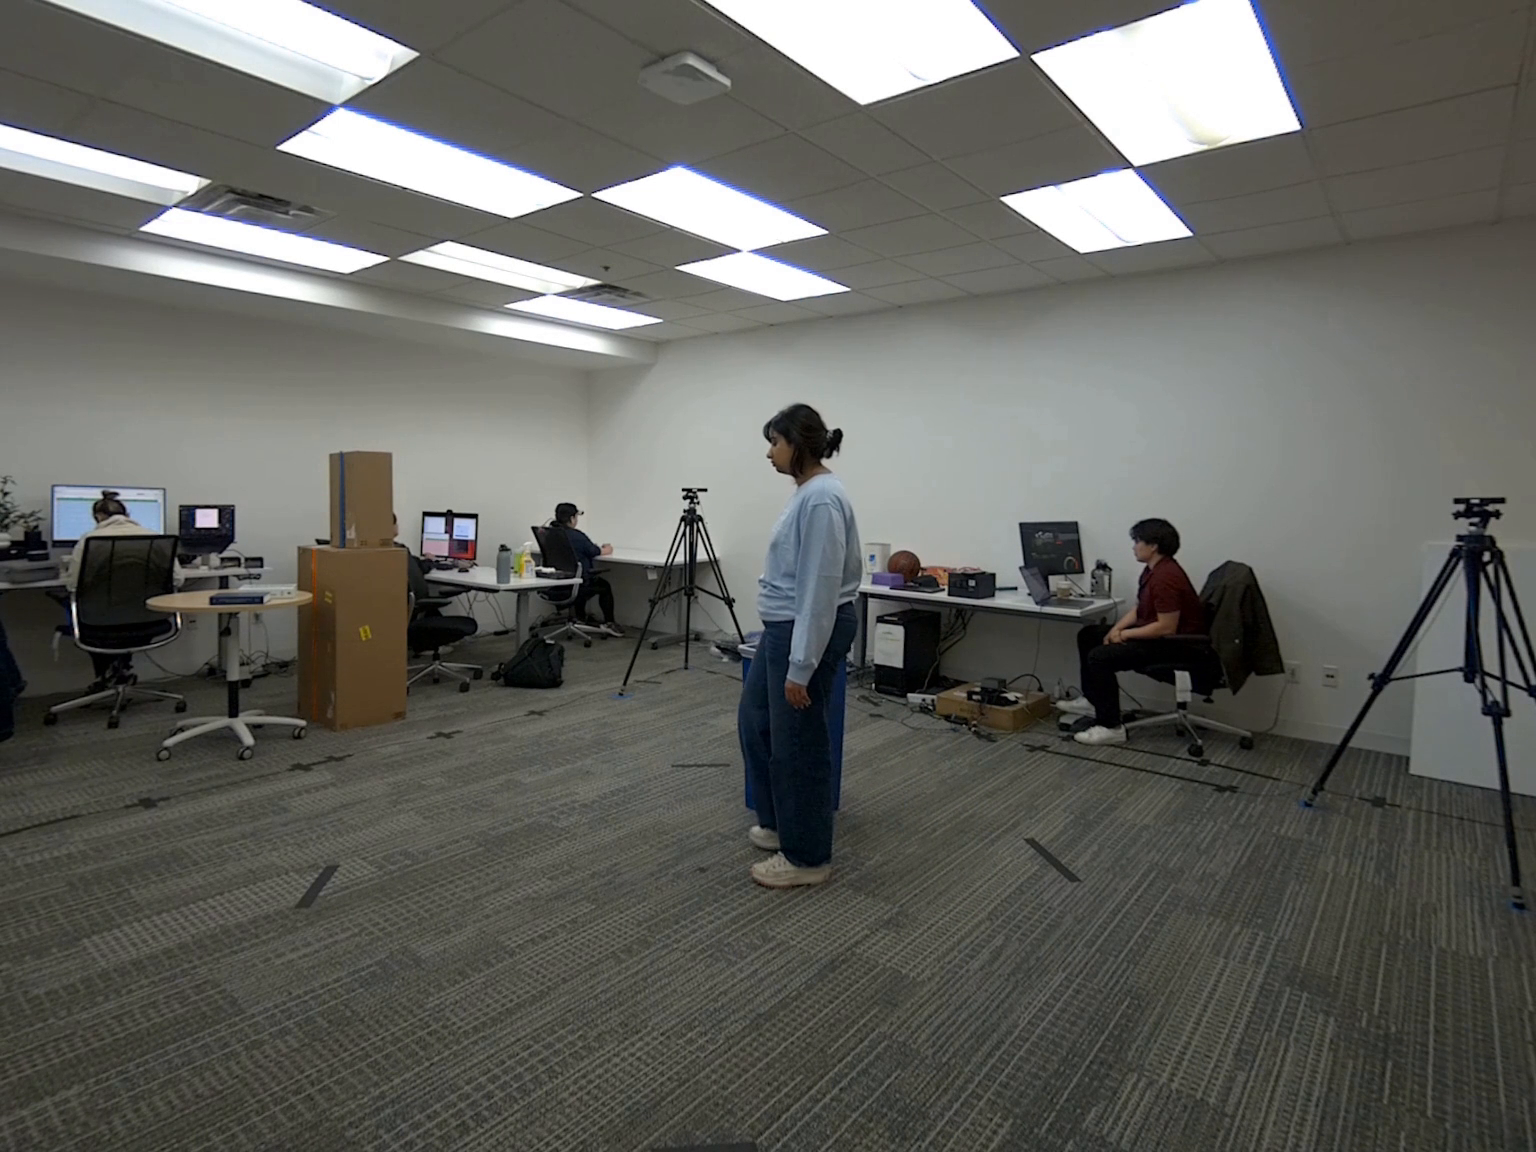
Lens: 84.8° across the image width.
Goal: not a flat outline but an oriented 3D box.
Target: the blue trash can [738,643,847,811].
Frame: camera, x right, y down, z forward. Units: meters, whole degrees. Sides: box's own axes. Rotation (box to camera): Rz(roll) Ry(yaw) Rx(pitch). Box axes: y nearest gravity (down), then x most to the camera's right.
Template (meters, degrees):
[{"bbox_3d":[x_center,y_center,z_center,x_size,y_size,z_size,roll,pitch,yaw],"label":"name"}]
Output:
[{"bbox_3d":[0.094,0.656,3.720,0.387,0.711,0.367,4,5,43],"label":"blue trash can"}]
